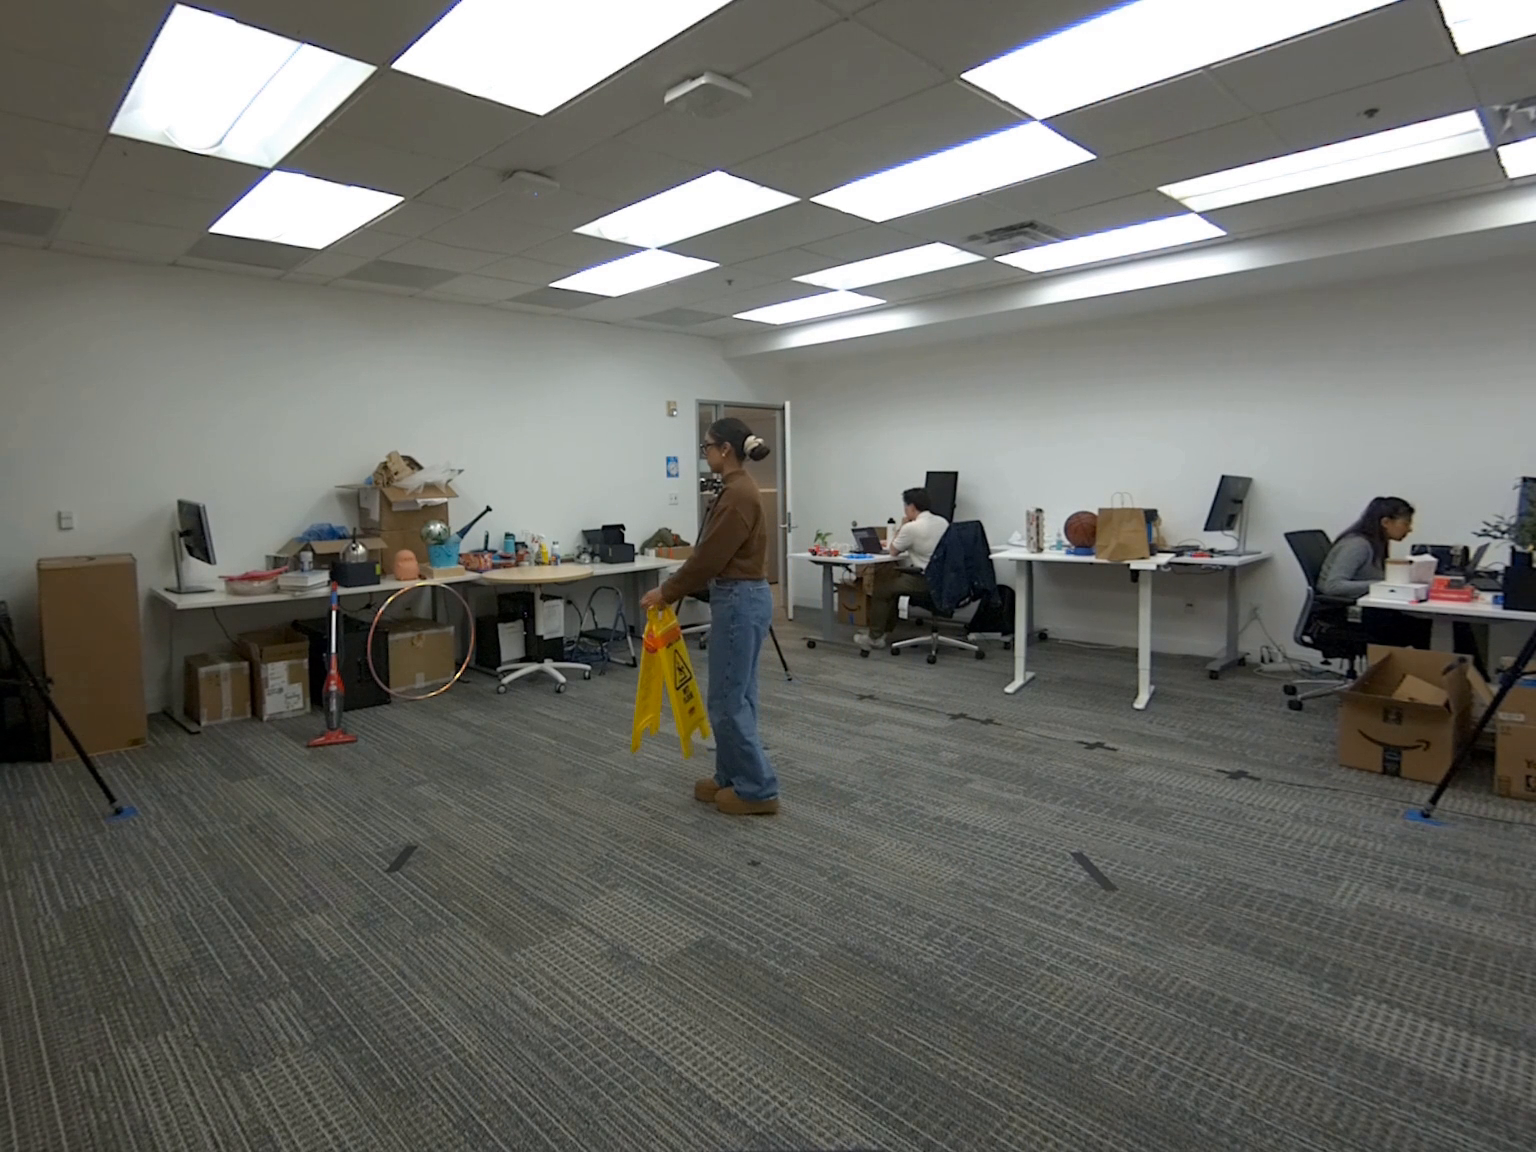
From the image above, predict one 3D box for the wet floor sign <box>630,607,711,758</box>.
[{"bbox_3d":[-0.452,0.428,3.742,0.295,0.641,0.279,-1,9,19],"label":"wet floor sign"}]
